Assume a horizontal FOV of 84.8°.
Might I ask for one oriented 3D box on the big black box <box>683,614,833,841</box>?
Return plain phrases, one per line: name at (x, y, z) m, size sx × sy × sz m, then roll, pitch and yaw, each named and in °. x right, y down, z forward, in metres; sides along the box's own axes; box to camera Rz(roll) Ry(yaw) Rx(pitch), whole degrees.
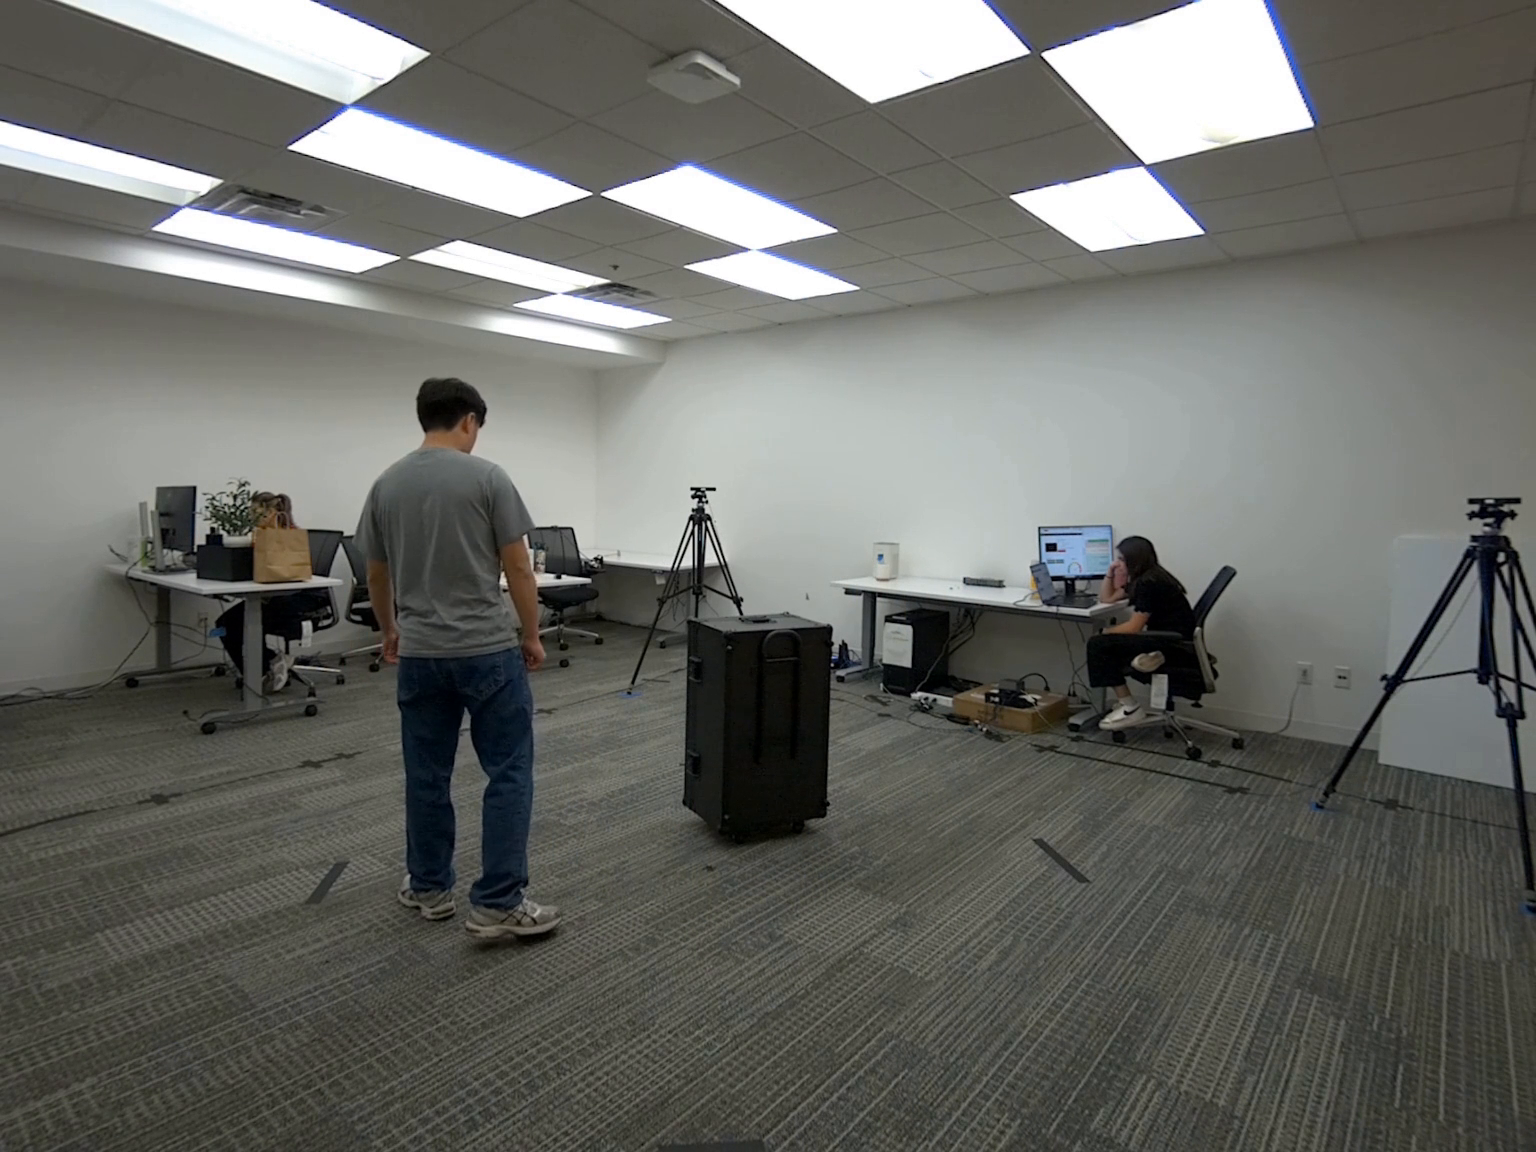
big black box at (-0.048, 0.607, 3.470) m, size 0.508 × 0.858 × 0.408 m, roll 0°, pitch 5°, yaw -28°
